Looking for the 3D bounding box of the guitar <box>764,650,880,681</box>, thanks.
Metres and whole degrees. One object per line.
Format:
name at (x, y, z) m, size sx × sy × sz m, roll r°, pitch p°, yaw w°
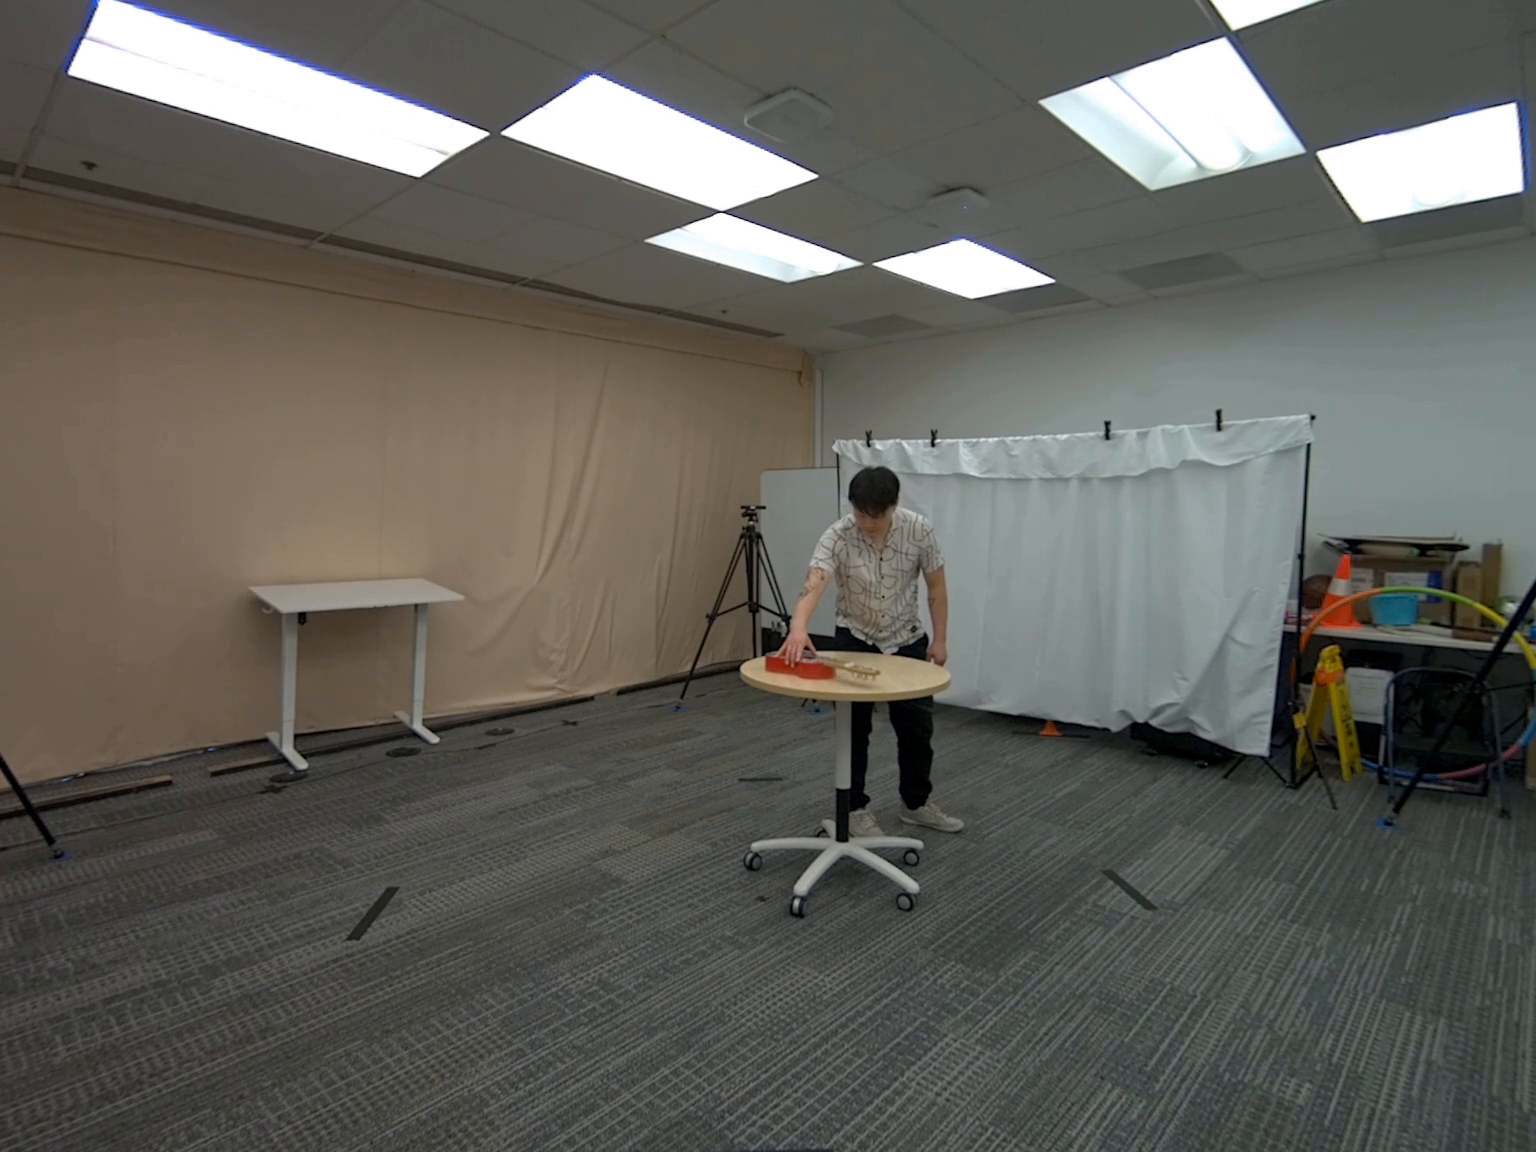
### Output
guitar at (0.184, 0.330, 2.962) m, size 0.188 × 0.070 × 0.512 m, roll -3°, pitch 6°, yaw -30°
